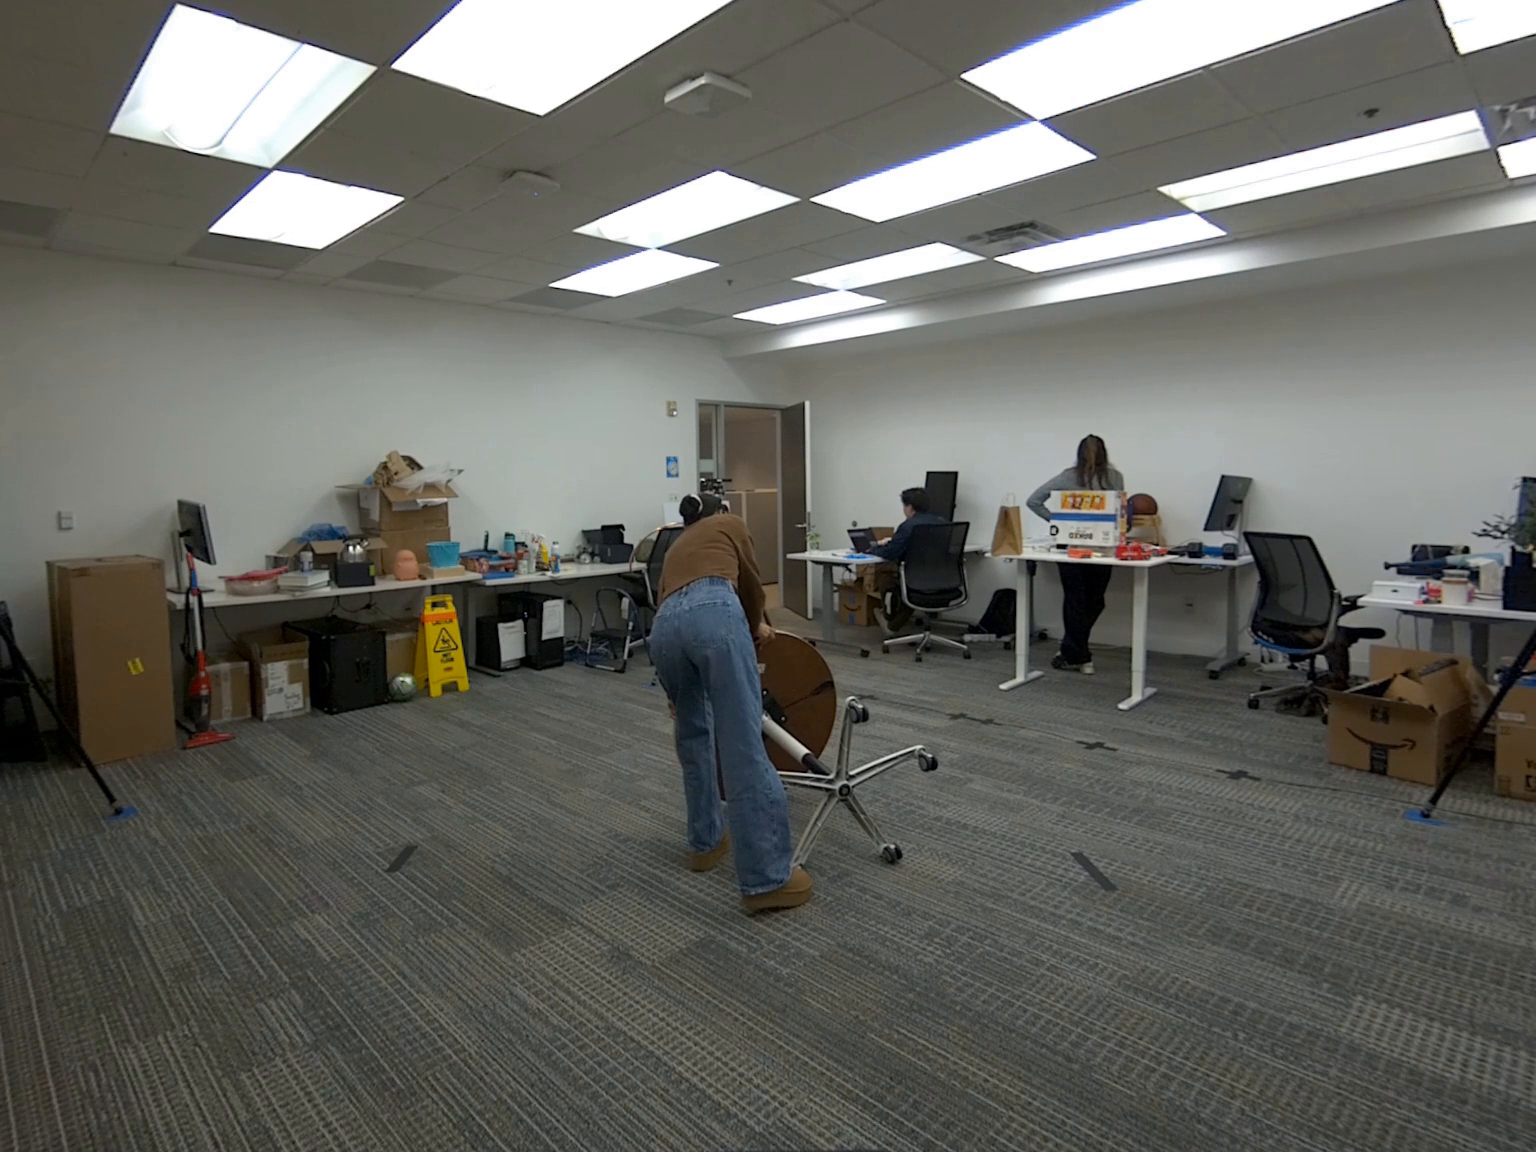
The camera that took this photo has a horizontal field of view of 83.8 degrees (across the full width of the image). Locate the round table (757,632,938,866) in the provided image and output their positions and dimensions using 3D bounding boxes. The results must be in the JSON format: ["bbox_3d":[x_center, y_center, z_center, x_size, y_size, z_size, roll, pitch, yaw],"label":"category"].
[{"bbox_3d":[0.138,0.684,3.305,0.748,0.757,0.818,-3,13,-25],"label":"round table"}]
